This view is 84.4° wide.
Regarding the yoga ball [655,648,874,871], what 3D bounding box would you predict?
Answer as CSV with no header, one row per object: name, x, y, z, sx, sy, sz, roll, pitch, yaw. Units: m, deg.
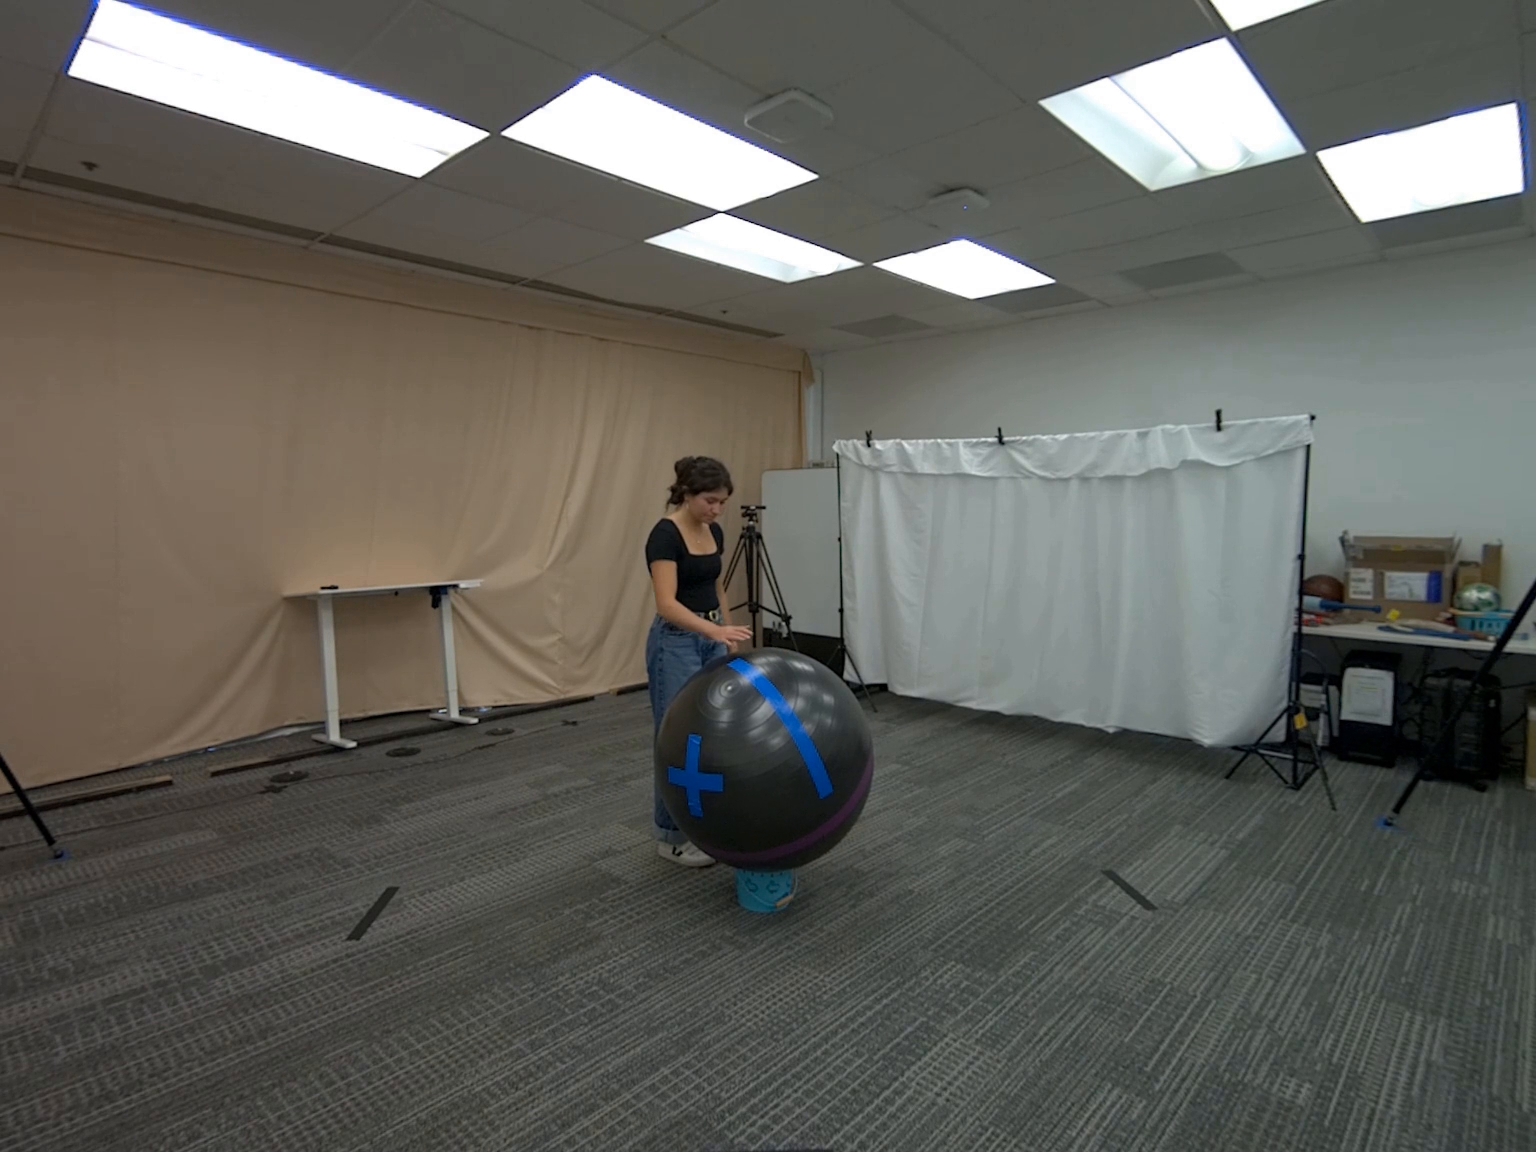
yoga ball,-0.010,0.635,2.944,0.757,0.756,0.760,0,4,-2
